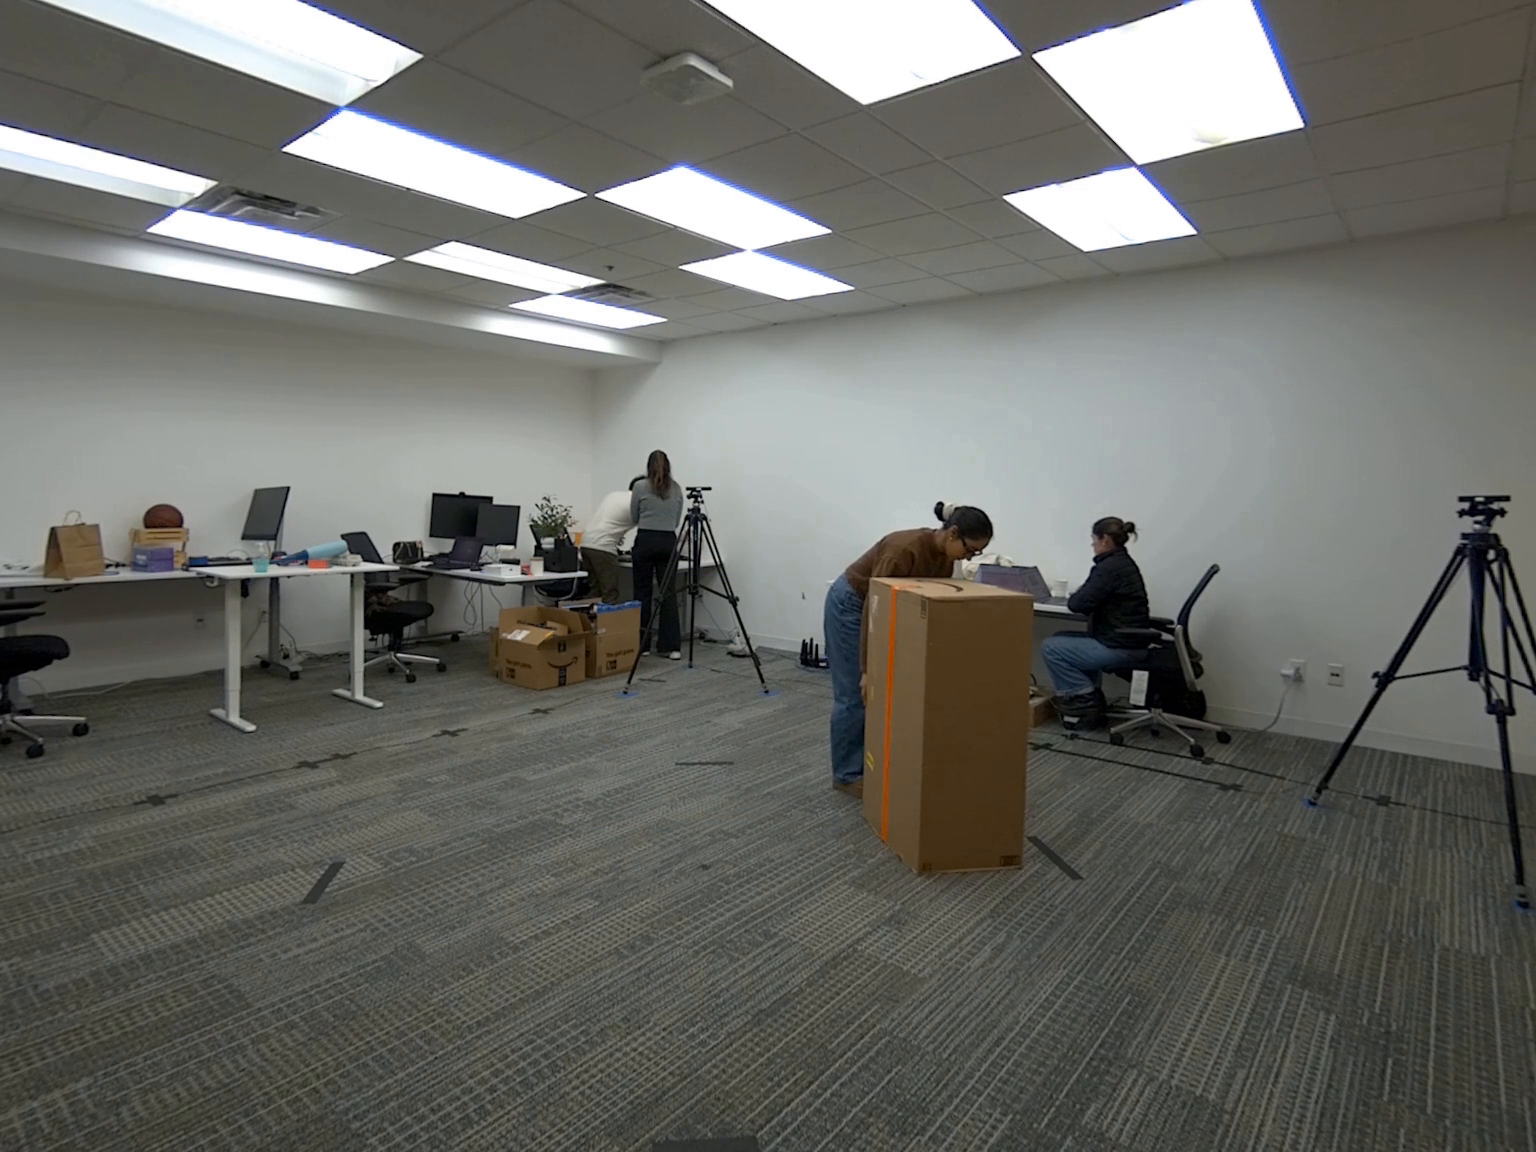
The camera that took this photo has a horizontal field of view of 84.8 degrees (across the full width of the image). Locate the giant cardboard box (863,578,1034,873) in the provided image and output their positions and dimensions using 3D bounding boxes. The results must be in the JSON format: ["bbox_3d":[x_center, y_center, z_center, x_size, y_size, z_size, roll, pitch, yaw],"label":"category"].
[{"bbox_3d":[0.681,0.546,3.372,0.421,1.022,0.588,0,5,-13],"label":"giant cardboard box"}]
